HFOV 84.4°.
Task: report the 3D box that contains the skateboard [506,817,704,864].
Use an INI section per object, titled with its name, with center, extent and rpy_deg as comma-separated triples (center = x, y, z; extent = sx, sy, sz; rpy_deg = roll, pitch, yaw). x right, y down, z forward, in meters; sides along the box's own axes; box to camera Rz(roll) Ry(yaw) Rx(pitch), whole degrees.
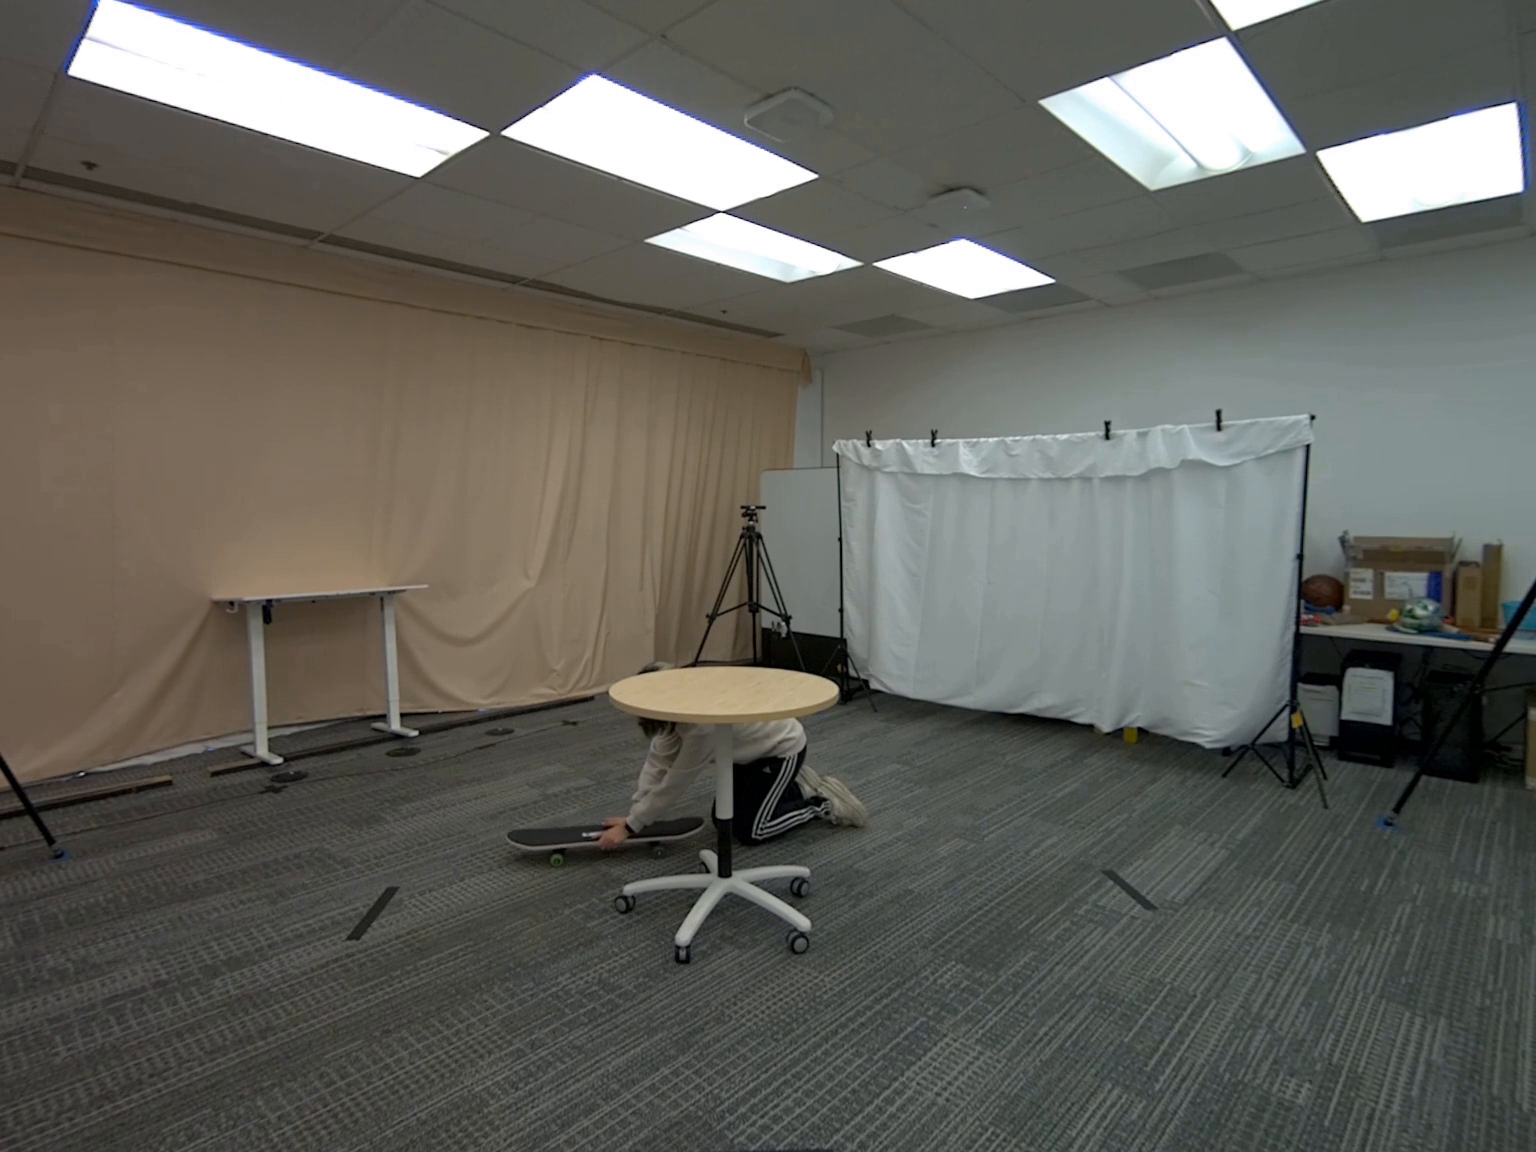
[skateboard]
center = -0.642, 1.063, 3.370
extent = 0.777, 0.110, 0.196
rpy_deg = -1, 4, -9
